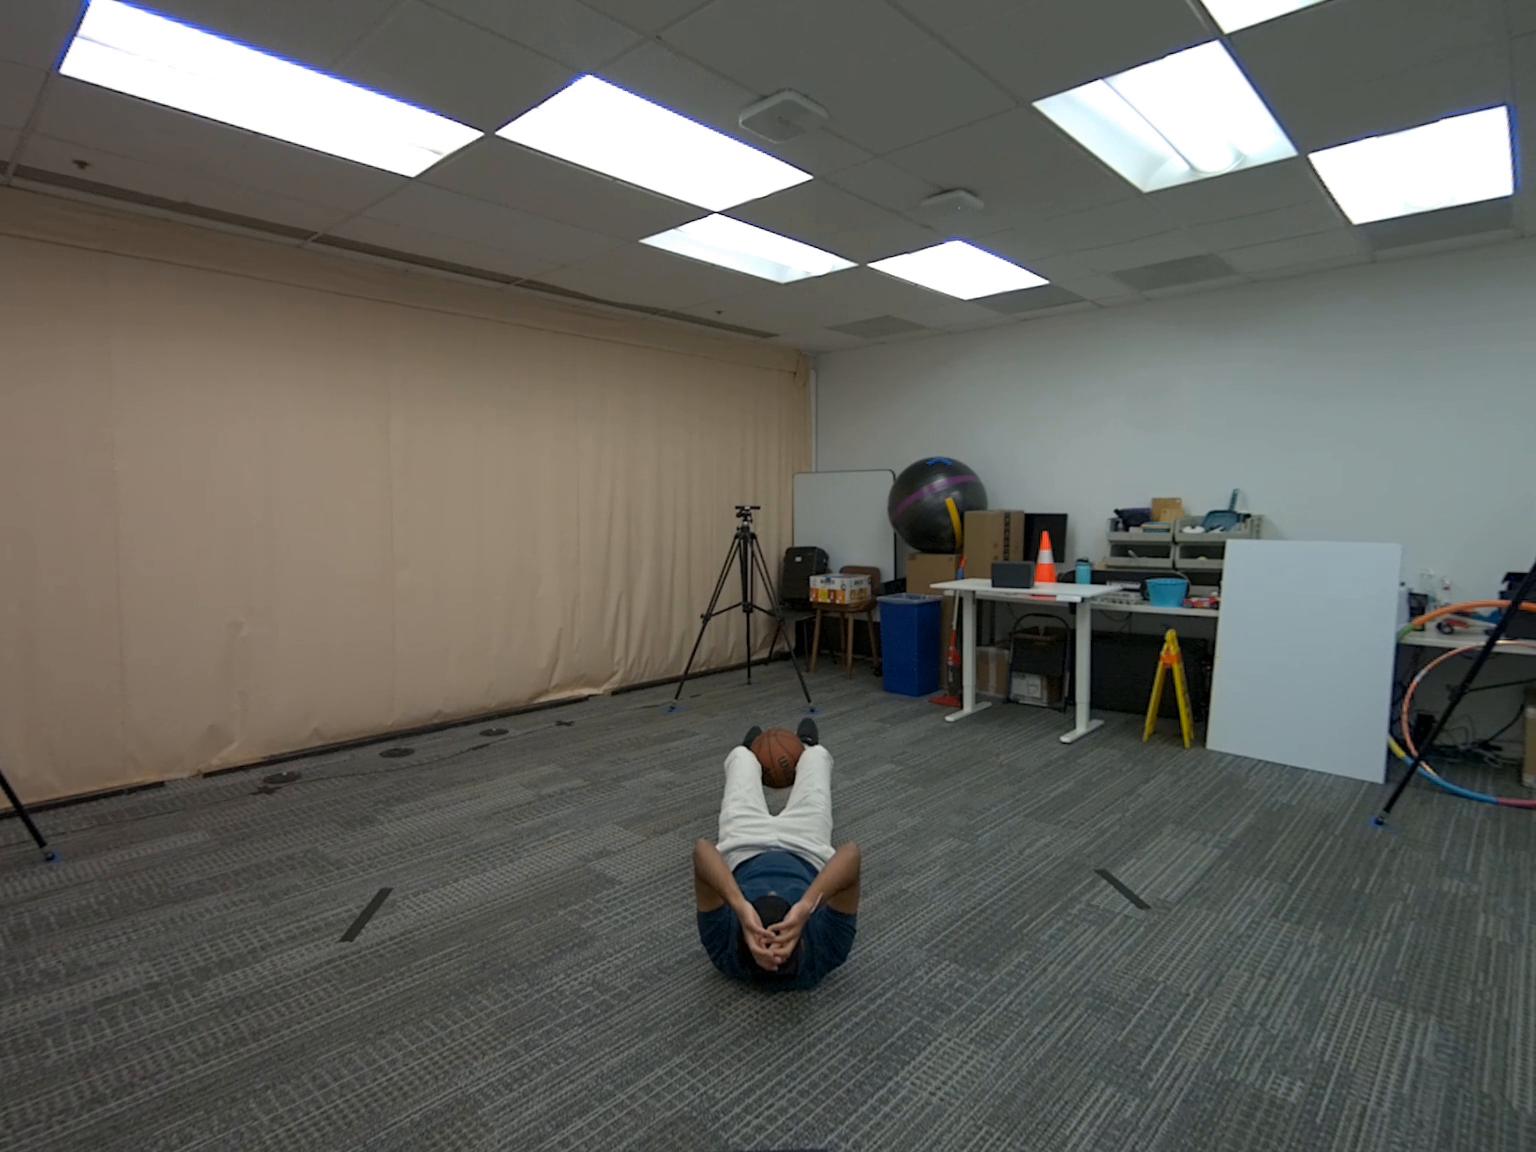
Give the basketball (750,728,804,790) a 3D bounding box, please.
[{"bbox_3d":[0.043,0.742,3.427,0.236,0.235,0.237,0,4,-2],"label":"basketball"}]
